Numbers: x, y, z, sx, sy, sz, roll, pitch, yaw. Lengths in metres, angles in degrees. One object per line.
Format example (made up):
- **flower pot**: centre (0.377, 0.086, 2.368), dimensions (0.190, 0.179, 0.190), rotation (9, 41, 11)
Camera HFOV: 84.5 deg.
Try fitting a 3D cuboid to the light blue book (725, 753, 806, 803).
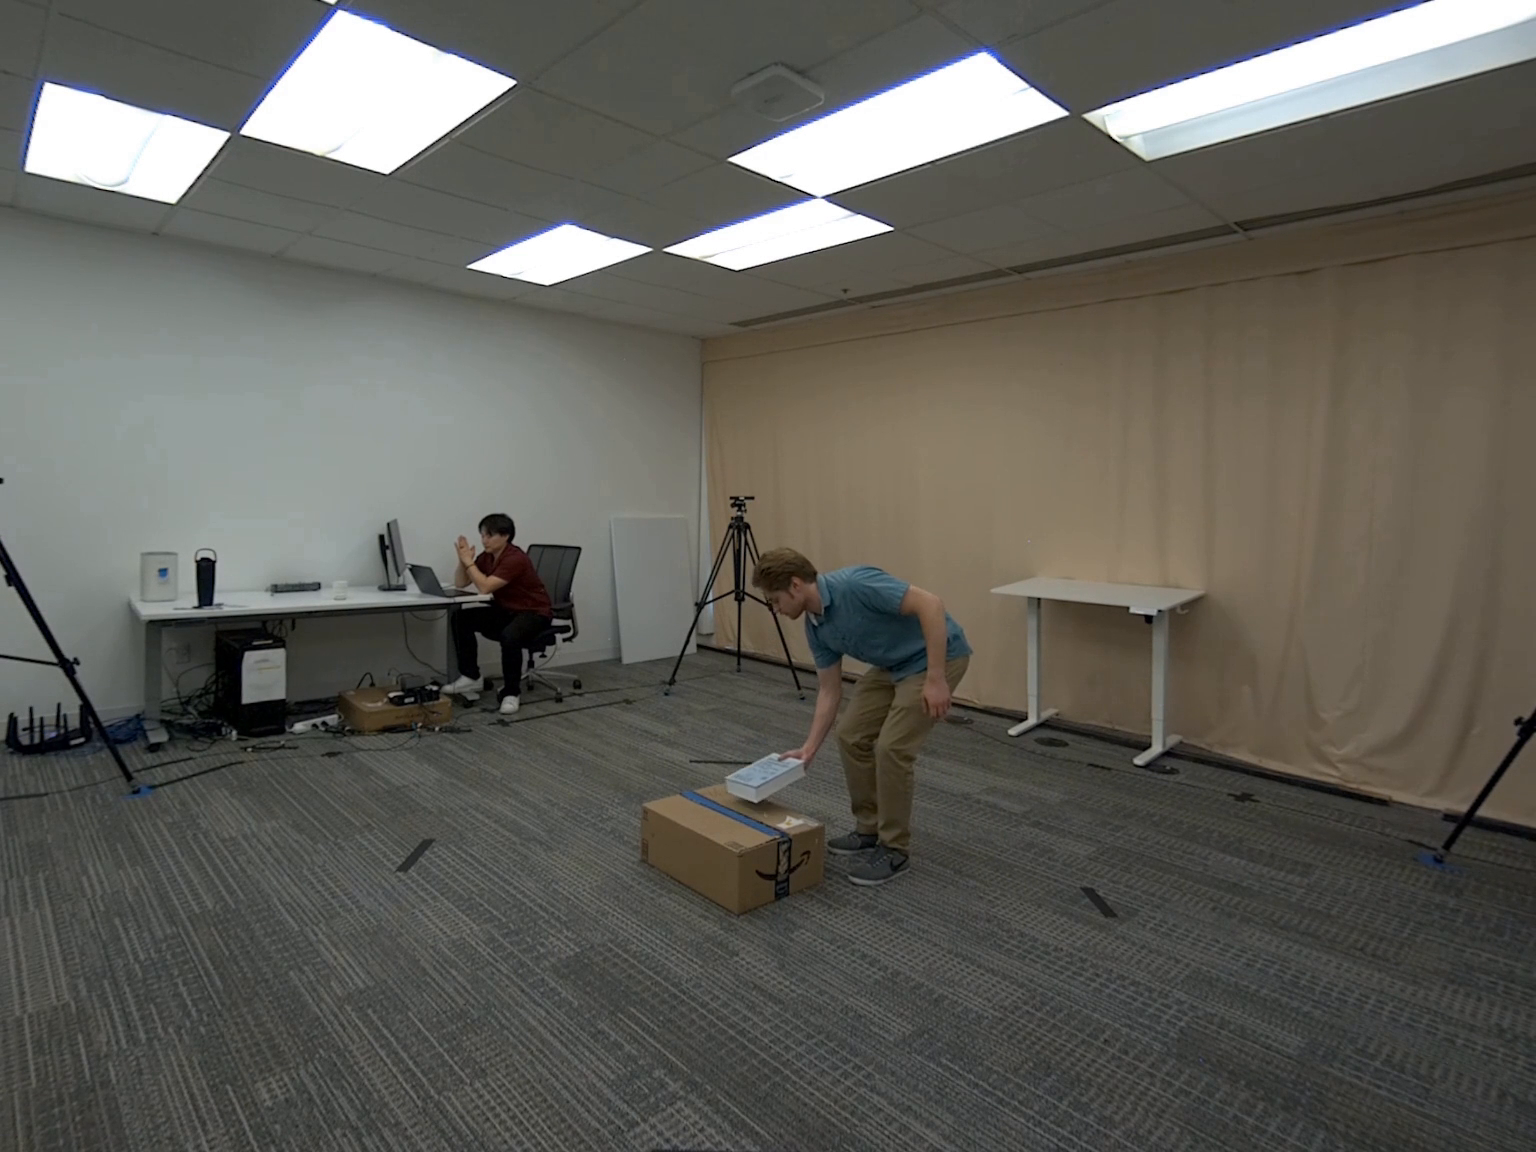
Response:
- **light blue book**: centre (-0.017, 0.764, 3.274), dimensions (0.257, 0.058, 0.196), rotation (-17, 12, -38)
